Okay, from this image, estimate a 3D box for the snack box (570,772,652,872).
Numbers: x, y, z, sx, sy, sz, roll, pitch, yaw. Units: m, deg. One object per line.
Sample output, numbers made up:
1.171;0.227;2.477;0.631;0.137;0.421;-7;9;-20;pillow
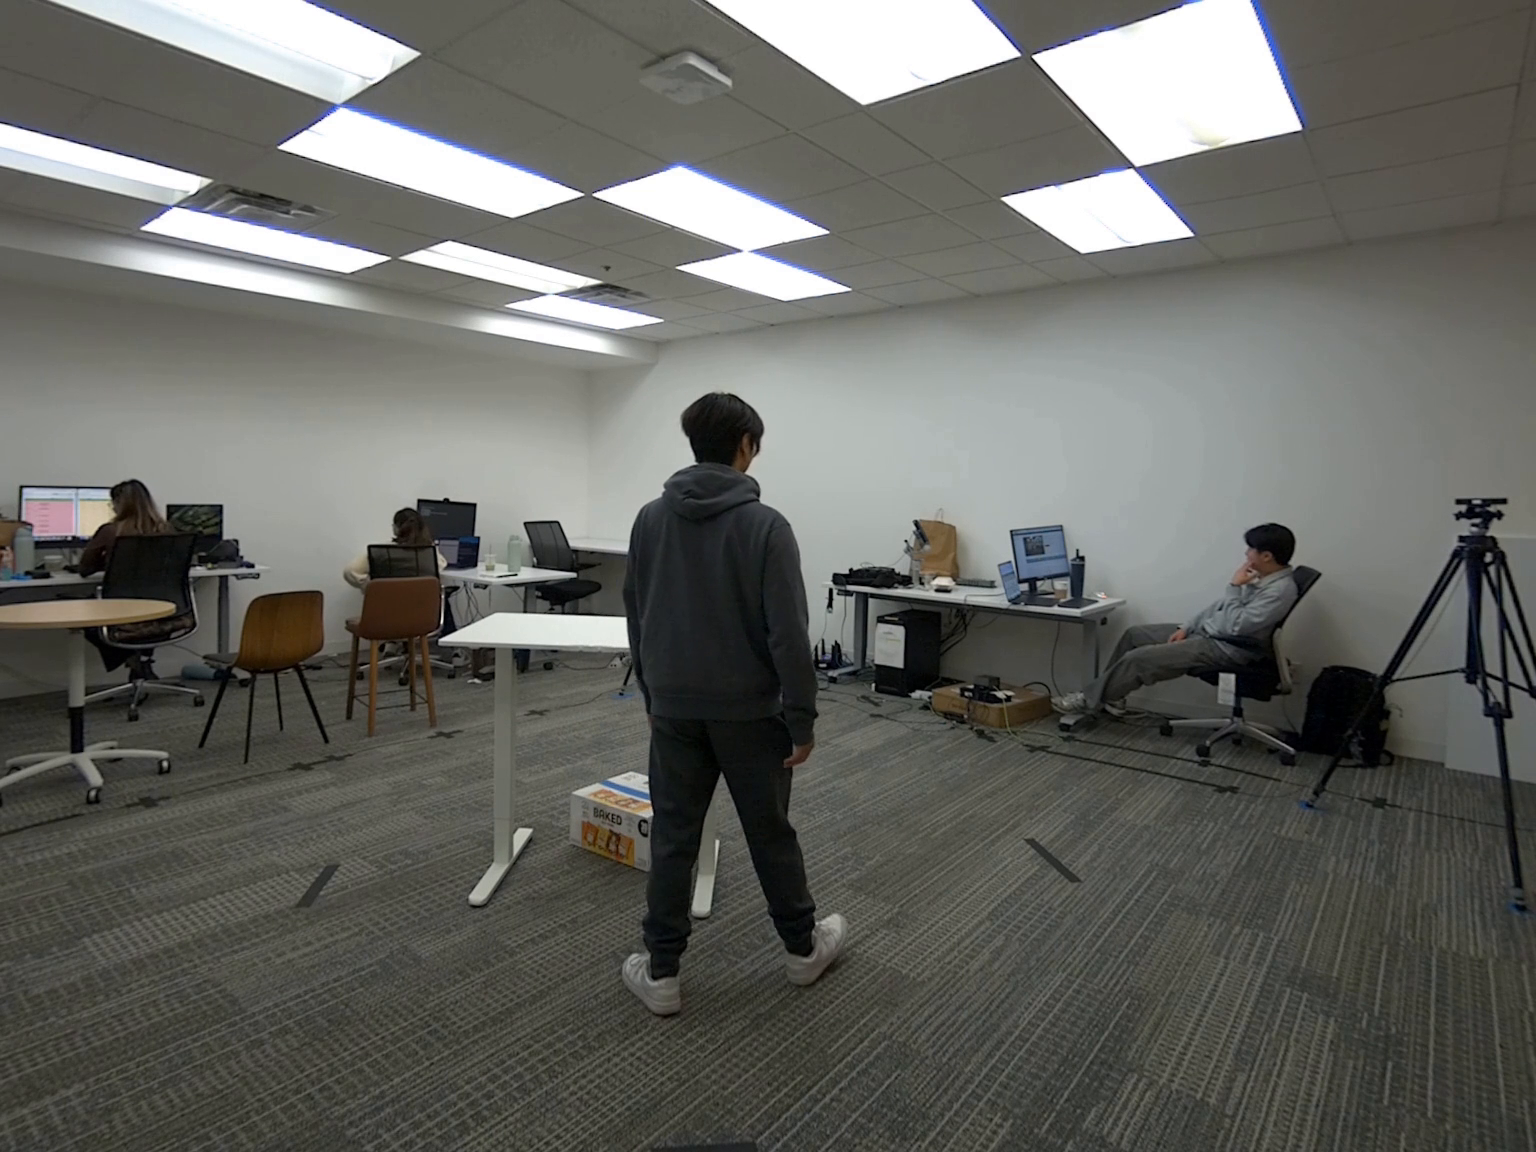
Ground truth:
-0.517;0.944;3.316;0.418;0.205;0.331;5;6;35;snack box
